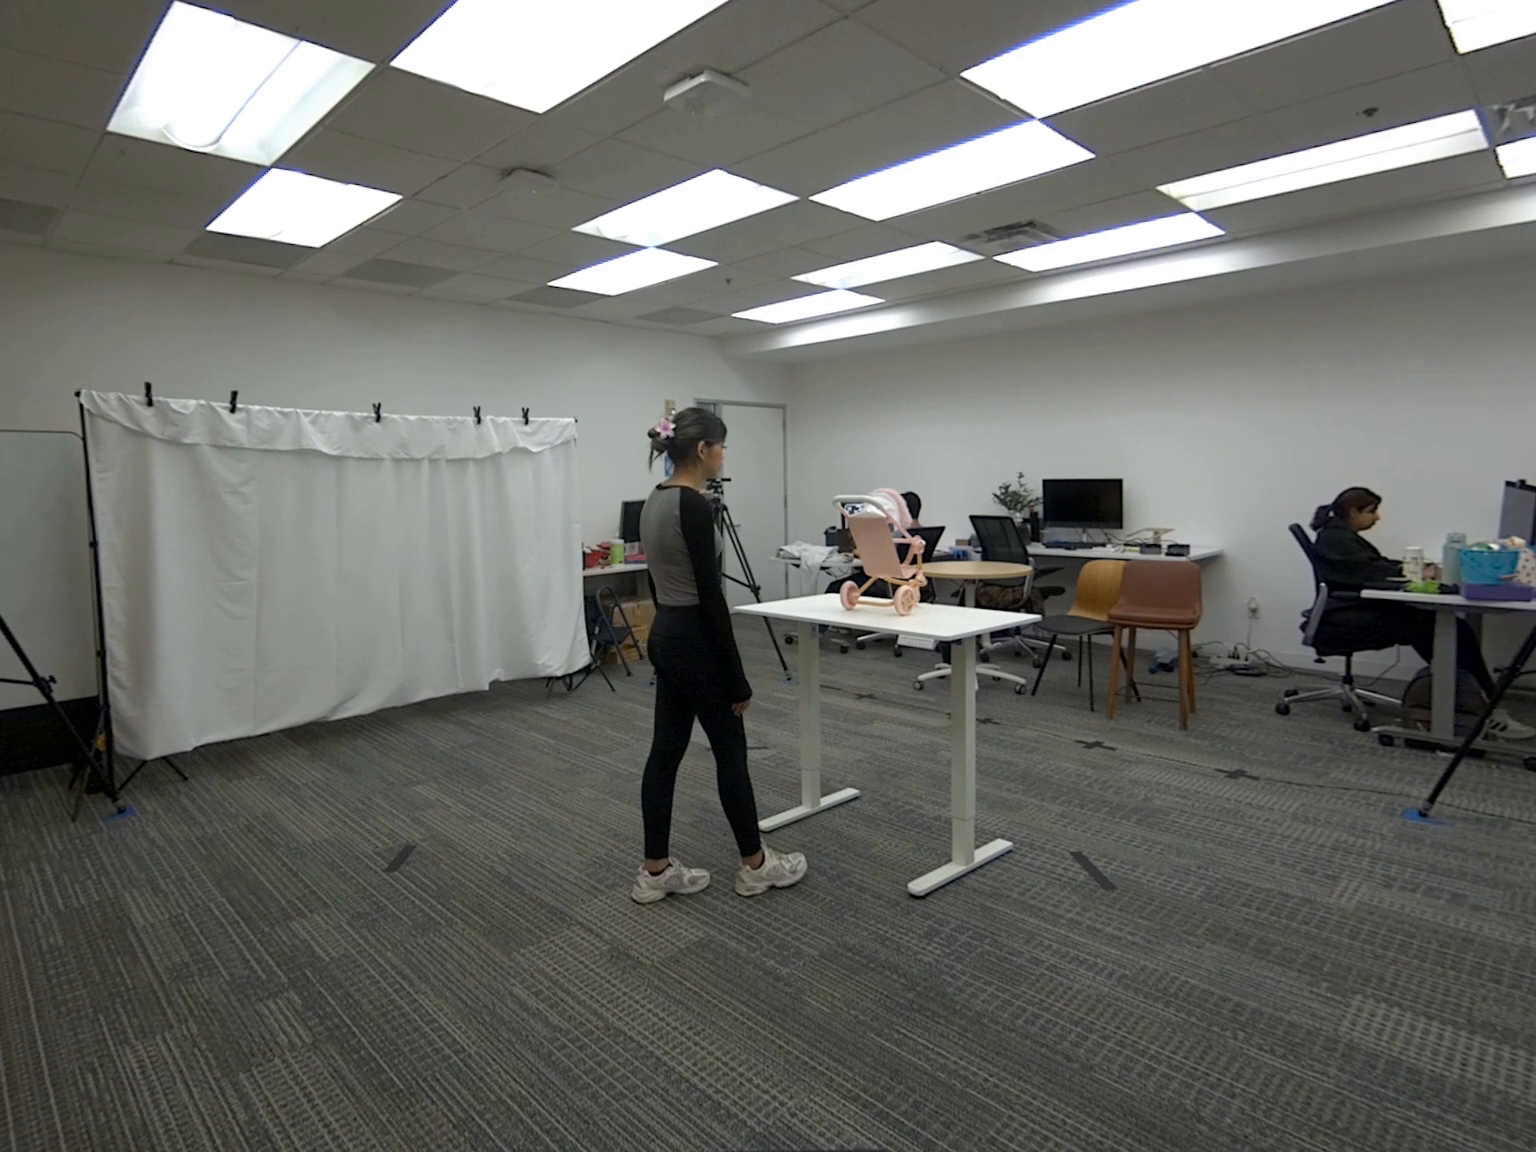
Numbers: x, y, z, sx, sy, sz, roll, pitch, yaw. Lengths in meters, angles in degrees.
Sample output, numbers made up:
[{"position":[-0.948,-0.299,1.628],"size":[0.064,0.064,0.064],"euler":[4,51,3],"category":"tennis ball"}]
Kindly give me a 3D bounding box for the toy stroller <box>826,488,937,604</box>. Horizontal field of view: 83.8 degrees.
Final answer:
[{"position":[0.454,-0.091,3.250],"size":[0.336,0.527,0.290],"euler":[-23,18,-39],"category":"toy stroller"}]
